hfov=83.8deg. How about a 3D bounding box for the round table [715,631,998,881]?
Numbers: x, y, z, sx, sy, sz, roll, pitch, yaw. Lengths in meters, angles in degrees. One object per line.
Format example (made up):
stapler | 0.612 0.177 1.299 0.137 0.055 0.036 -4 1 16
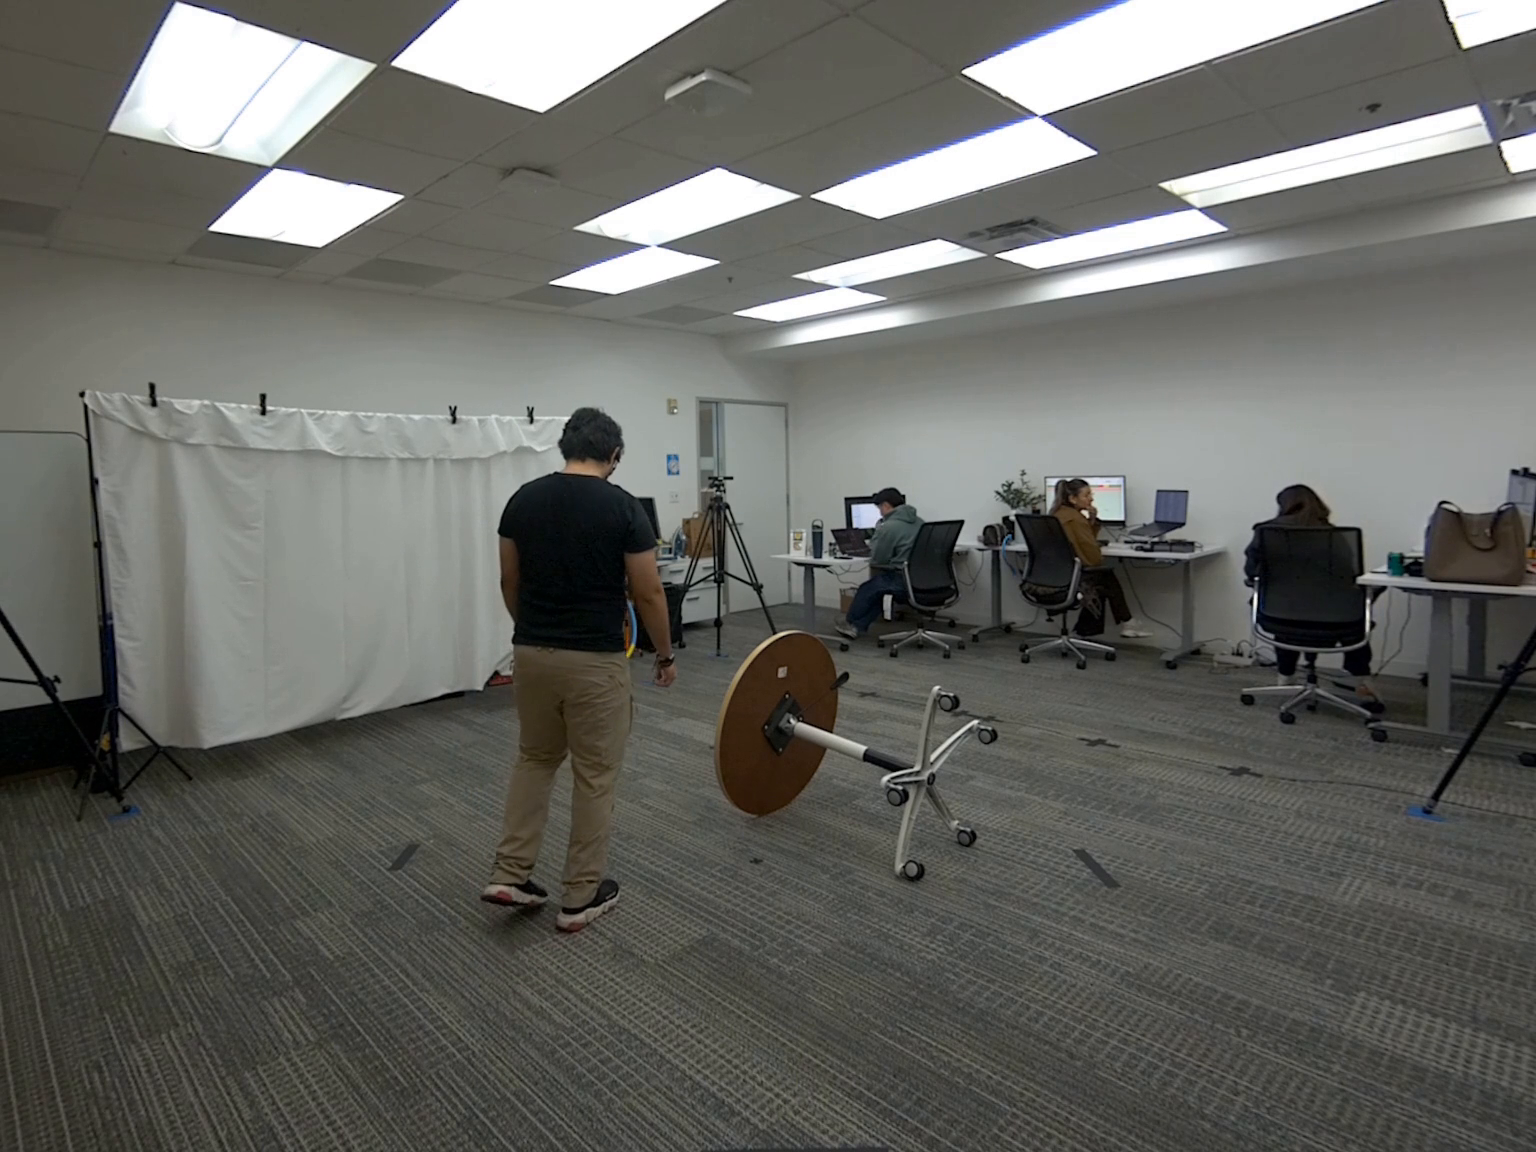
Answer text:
round table | 0.343 0.678 3.268 0.814 0.779 0.765 13 13 41
